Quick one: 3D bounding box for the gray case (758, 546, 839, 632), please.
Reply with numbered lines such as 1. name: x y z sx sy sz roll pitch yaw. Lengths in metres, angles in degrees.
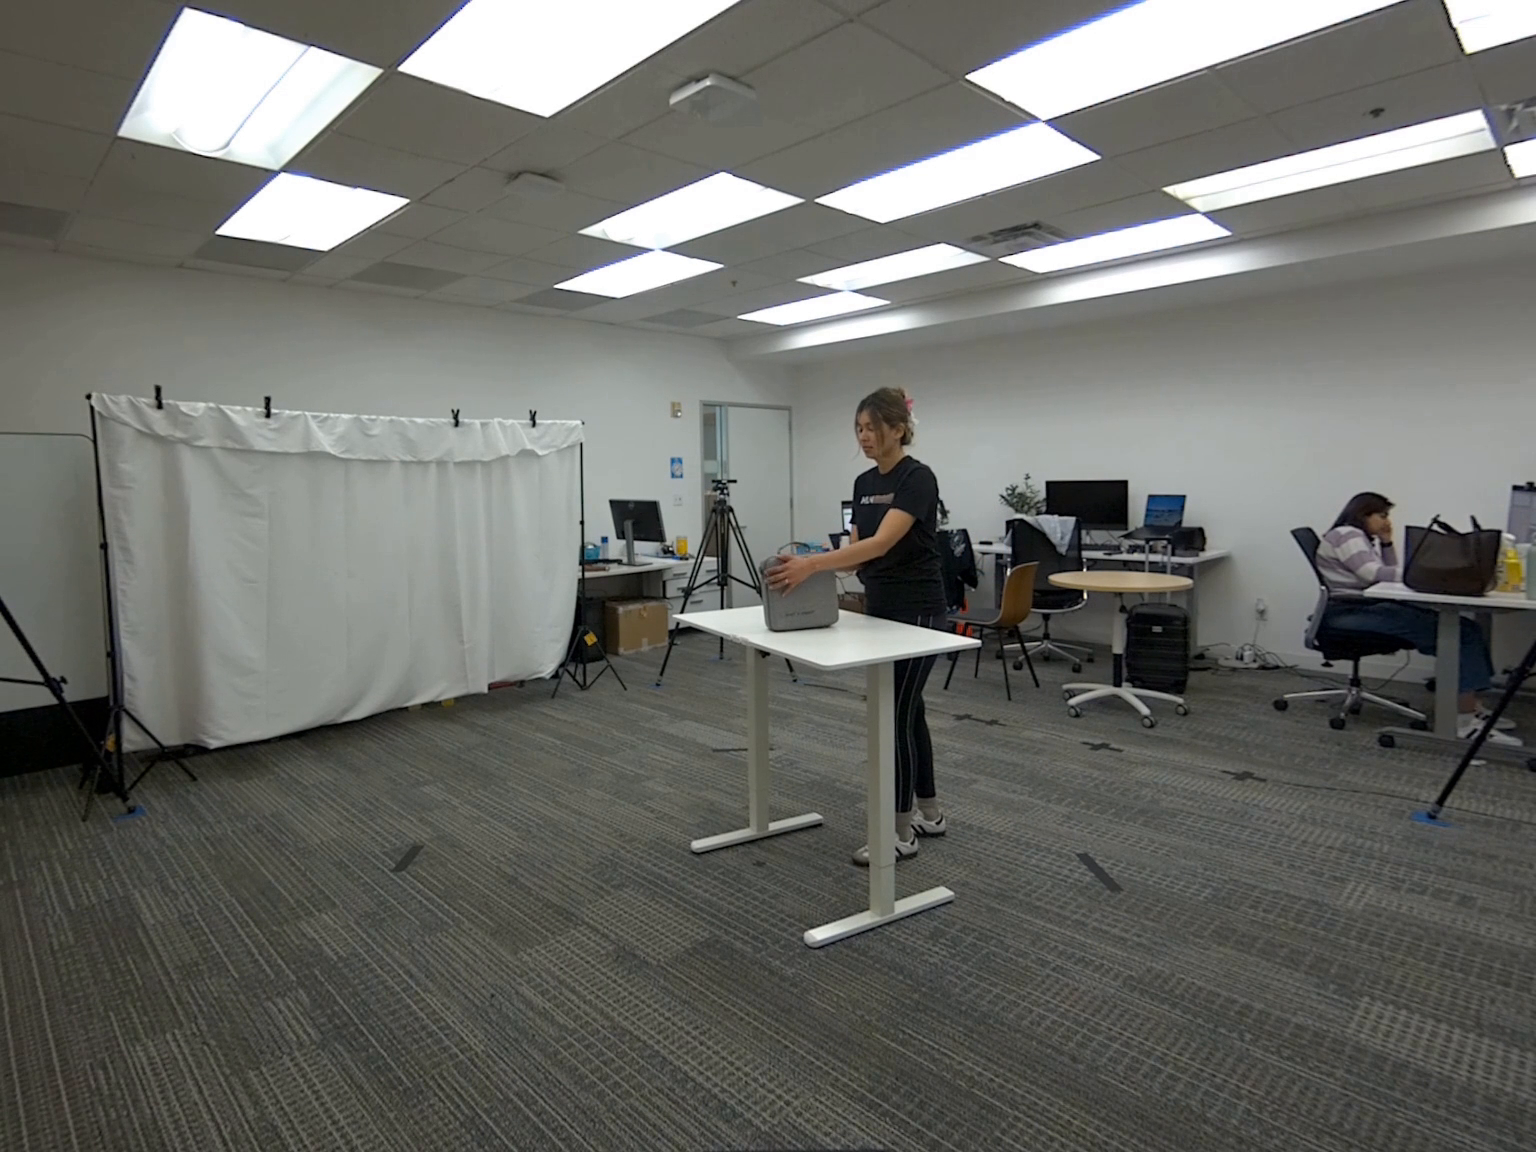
1. gray case: 0.108 0.051 2.940 0.254 0.260 0.106 -5 2 -14
